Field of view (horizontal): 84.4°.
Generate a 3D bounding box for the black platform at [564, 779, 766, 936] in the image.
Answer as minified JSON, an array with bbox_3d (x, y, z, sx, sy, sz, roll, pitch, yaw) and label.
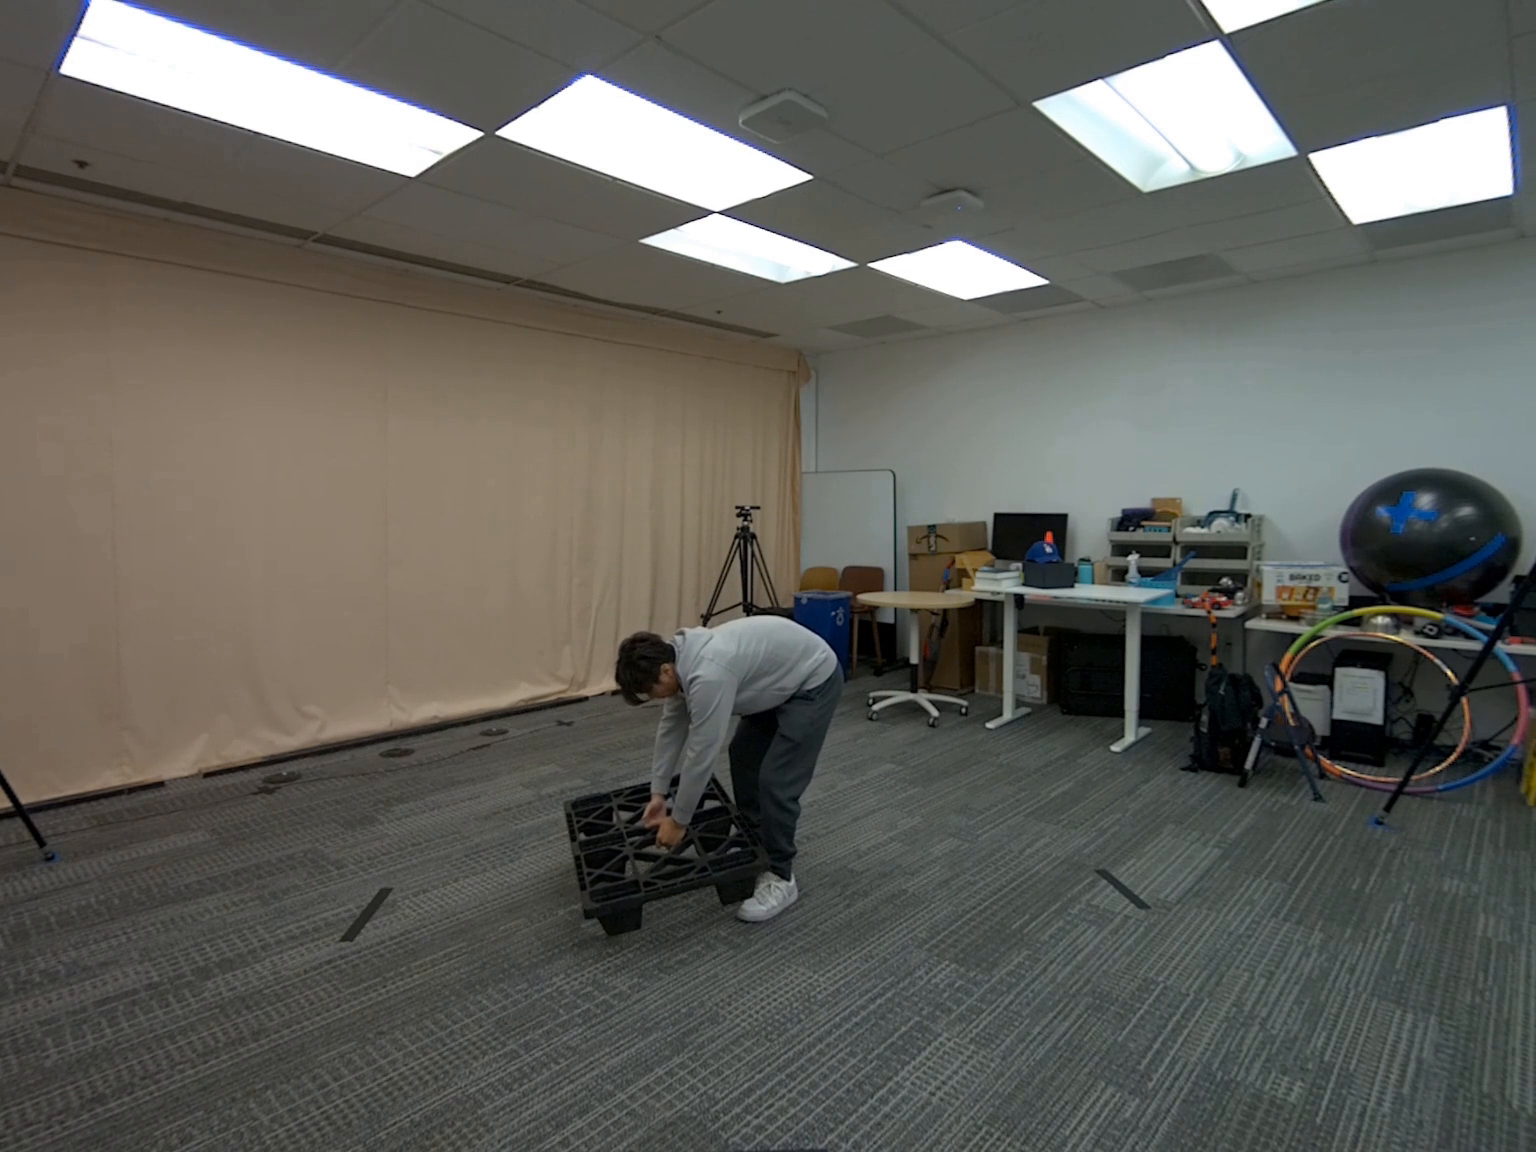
[{"bbox_3d":[-0.394,0.953,2.981,0.598,0.142,0.822,-11,12,-14],"label":"black platform"}]
